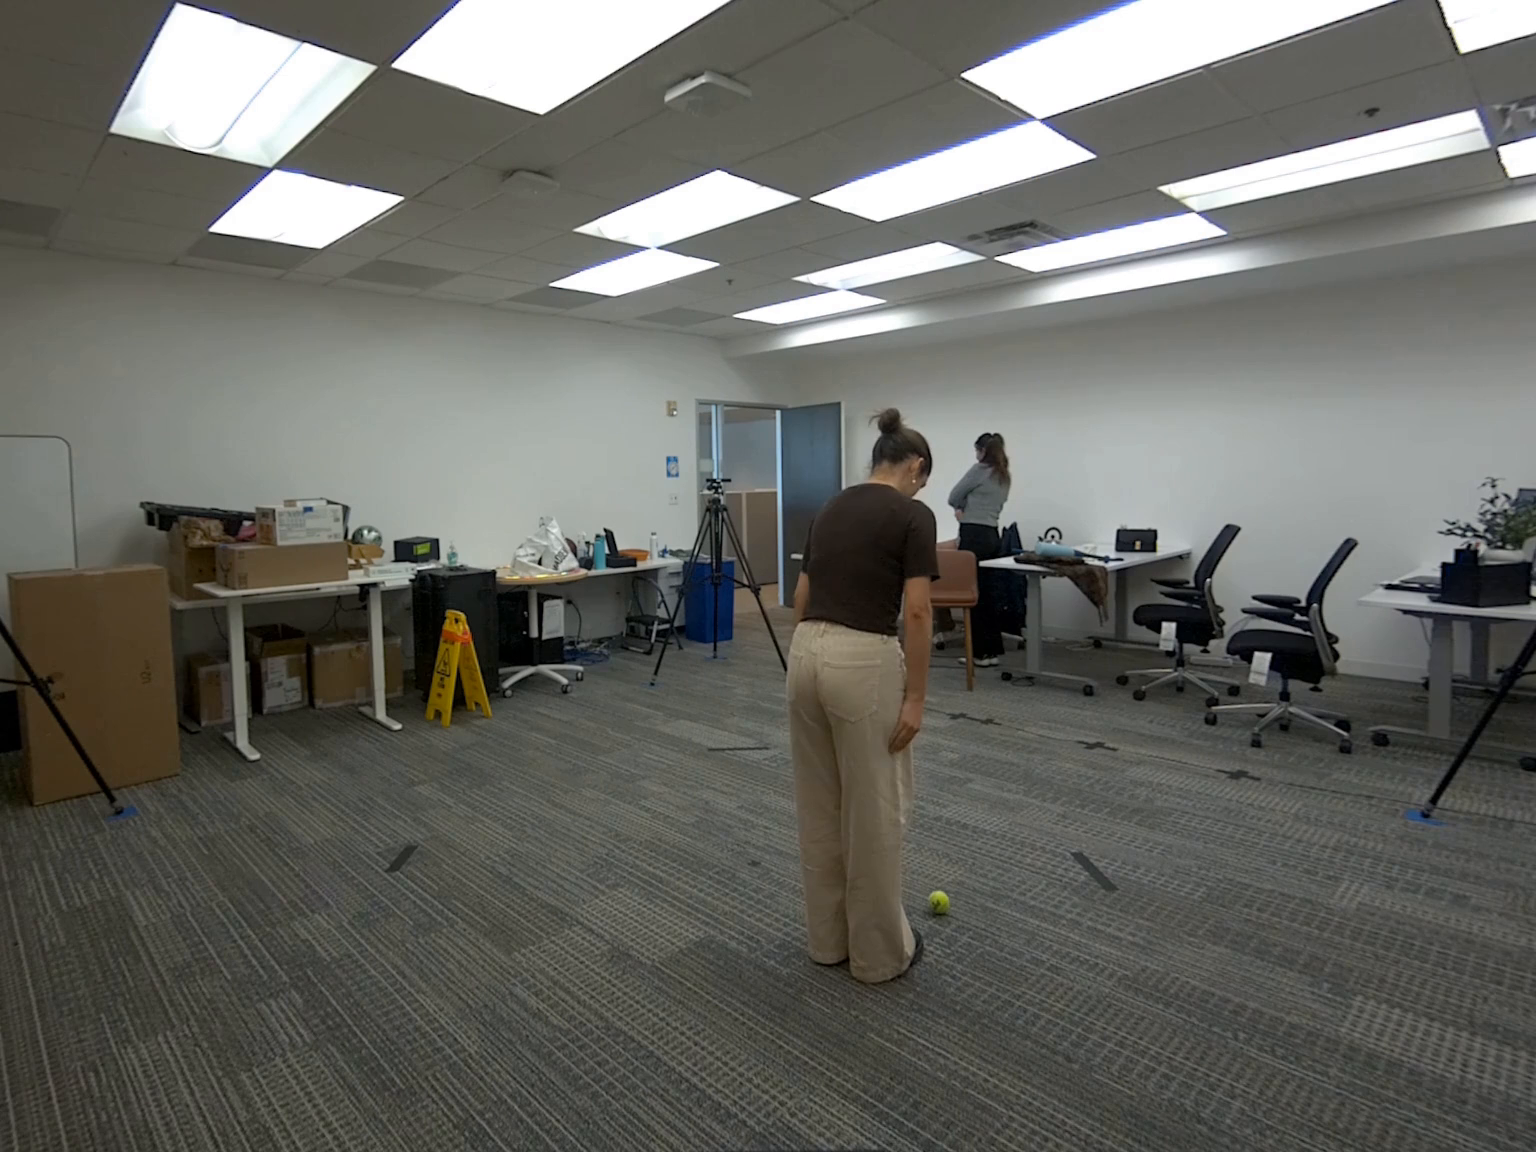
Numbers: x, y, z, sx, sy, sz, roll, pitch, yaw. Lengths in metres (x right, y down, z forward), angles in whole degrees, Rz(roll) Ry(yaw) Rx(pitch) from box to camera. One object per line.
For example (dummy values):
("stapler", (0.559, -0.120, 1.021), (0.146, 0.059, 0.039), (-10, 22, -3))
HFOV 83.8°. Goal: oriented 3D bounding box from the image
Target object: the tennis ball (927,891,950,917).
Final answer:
("tennis ball", (0.550, 1.041, 2.727), (0.066, 0.066, 0.067), (-1, 5, -2))
